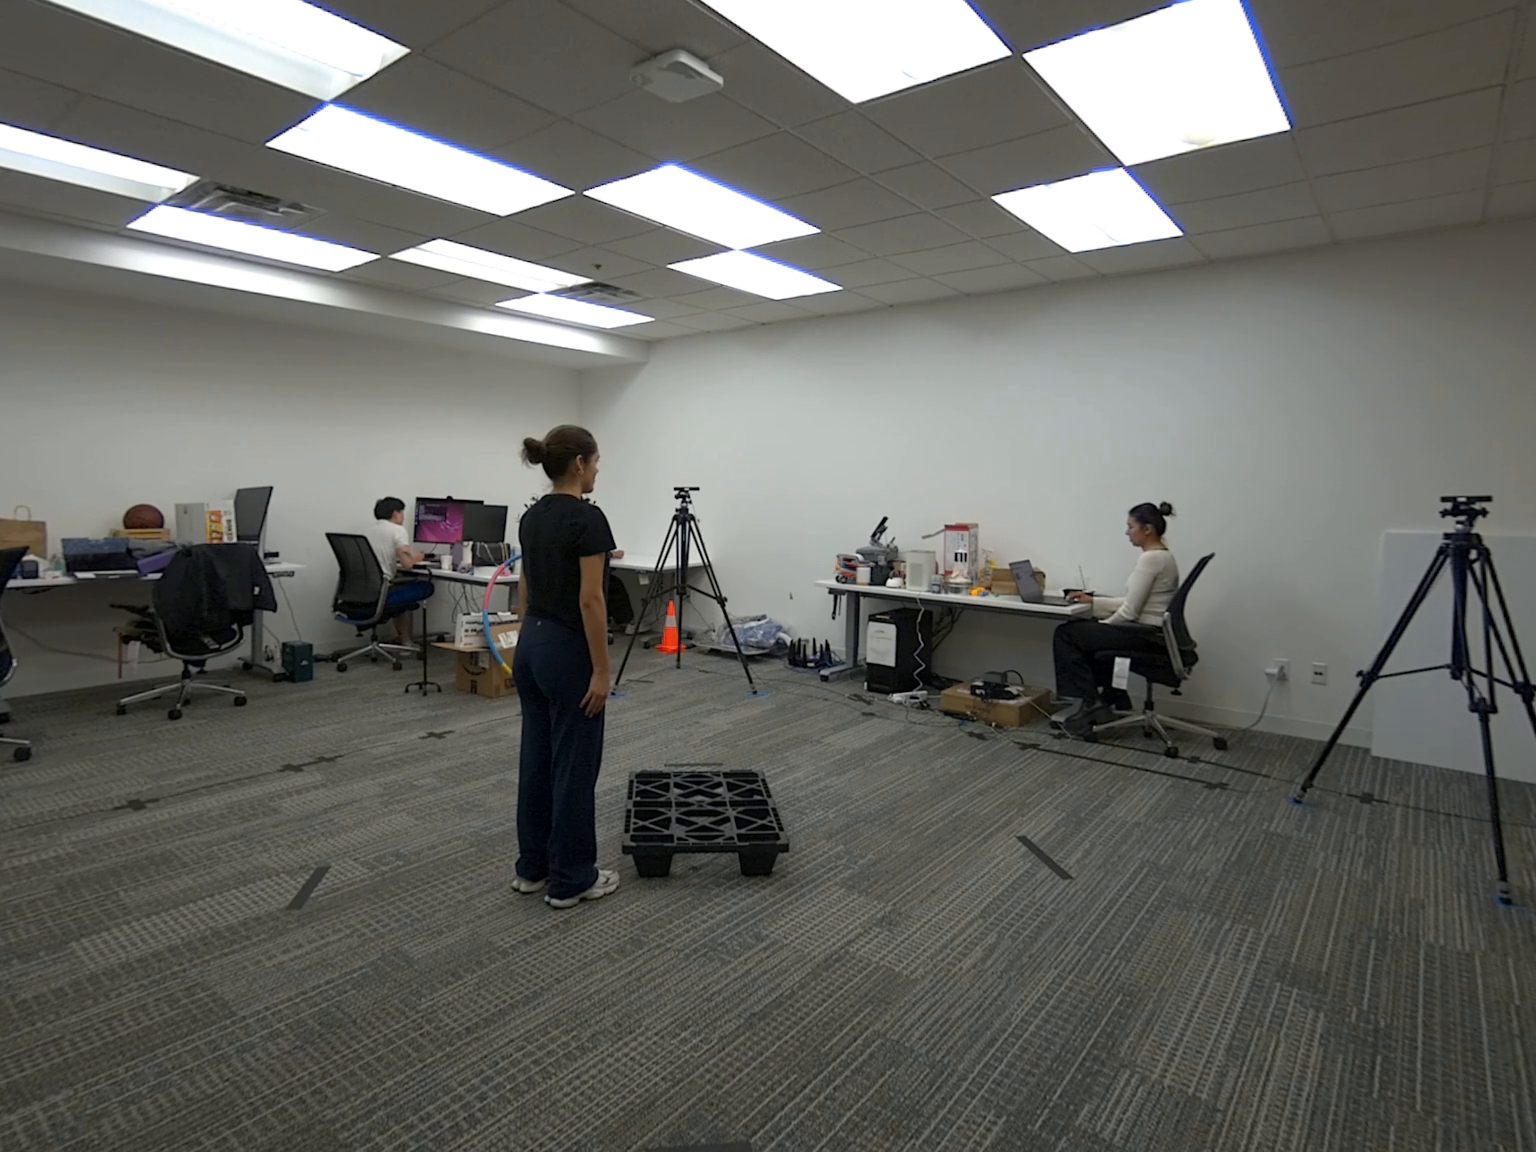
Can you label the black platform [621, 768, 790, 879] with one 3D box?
[{"bbox_3d":[-0.251,0.966,3.416,0.602,0.143,0.813,1,6,-5],"label":"black platform"}]
